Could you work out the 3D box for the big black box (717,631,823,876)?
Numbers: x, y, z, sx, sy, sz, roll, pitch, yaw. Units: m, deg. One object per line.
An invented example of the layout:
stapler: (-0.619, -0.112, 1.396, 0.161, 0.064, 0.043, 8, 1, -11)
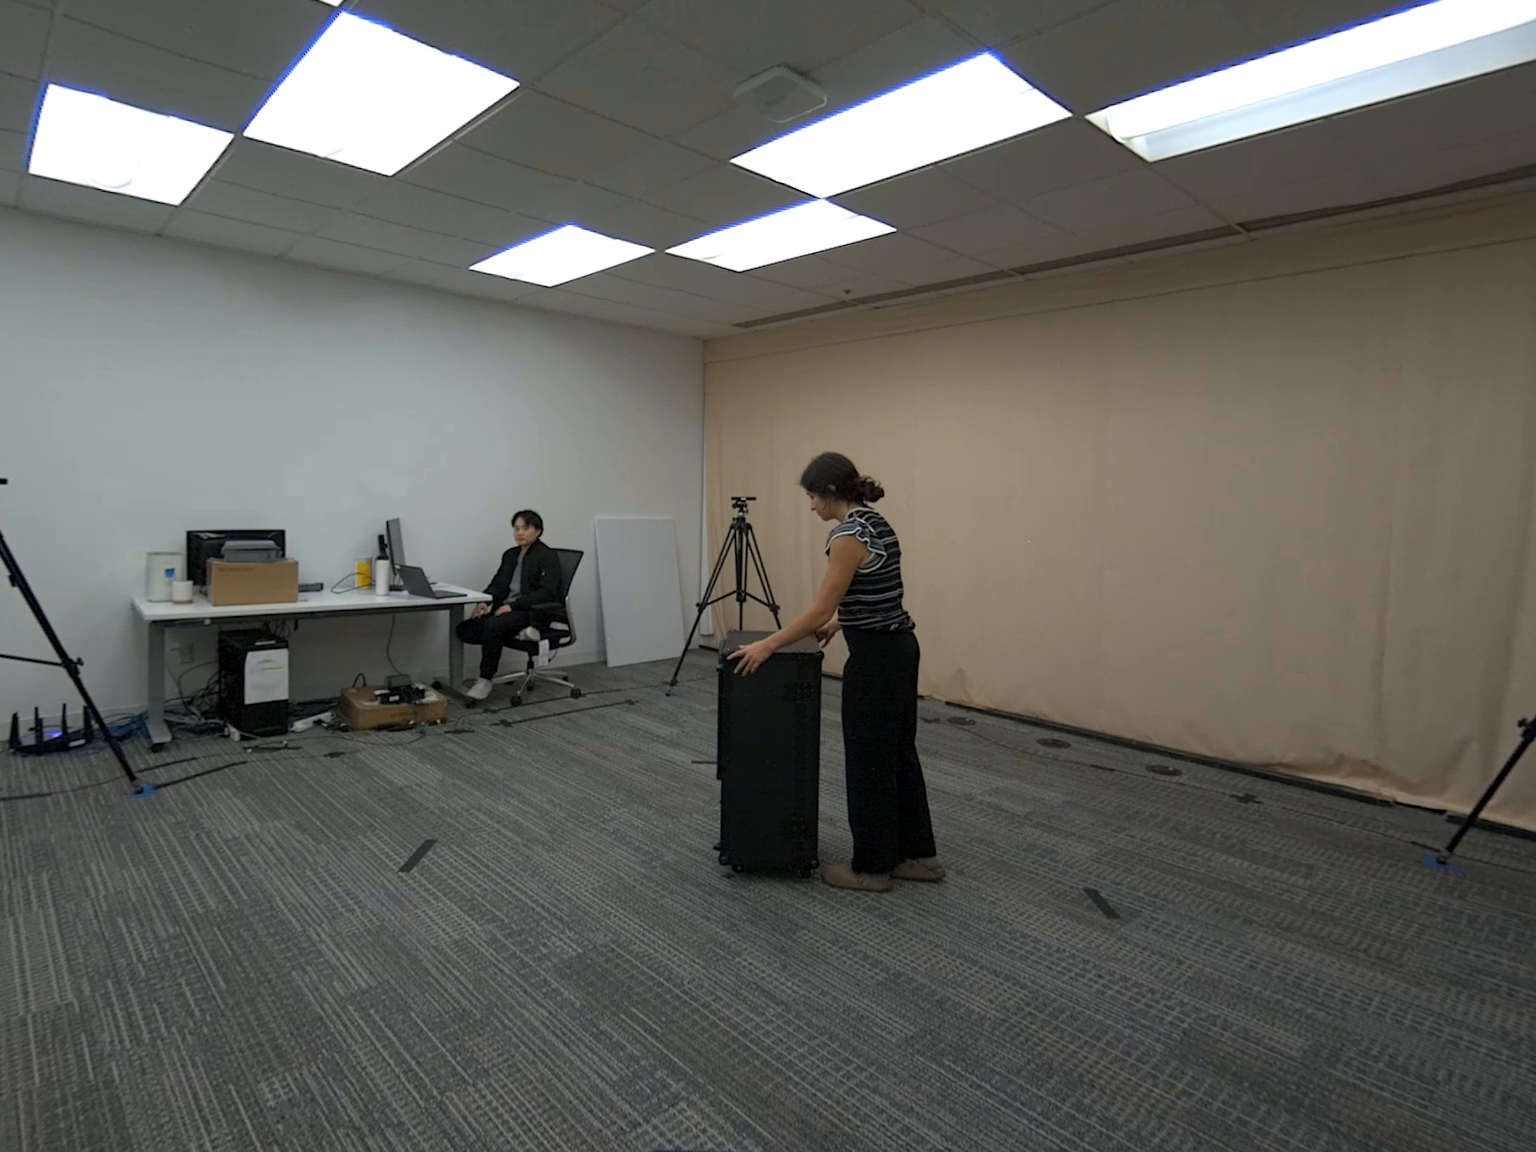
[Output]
big black box: (-0.005, 0.677, 3.233, 0.396, 0.859, 0.523, 1, 4, -1)
